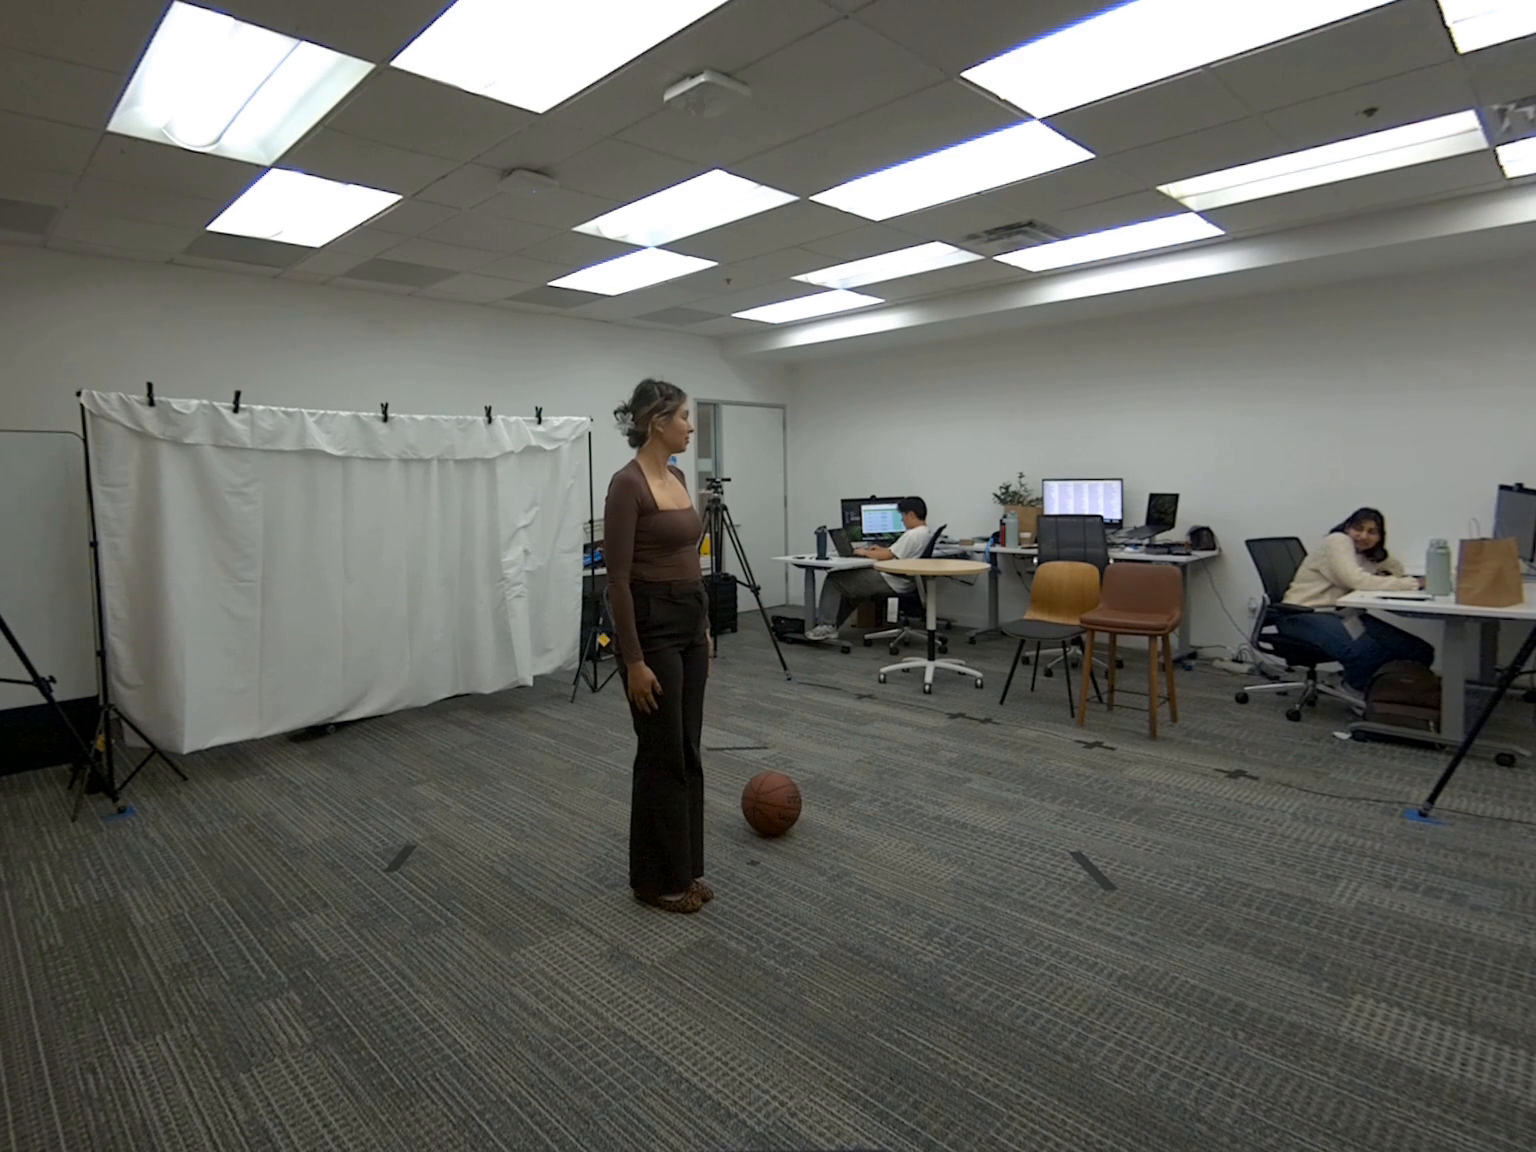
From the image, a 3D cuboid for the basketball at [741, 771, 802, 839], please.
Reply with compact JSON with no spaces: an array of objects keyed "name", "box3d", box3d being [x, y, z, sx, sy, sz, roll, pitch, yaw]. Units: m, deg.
[{"name":"basketball","box3d":[0.016,0.889,3.367,0.236,0.235,0.237,-1,5,-2]}]
